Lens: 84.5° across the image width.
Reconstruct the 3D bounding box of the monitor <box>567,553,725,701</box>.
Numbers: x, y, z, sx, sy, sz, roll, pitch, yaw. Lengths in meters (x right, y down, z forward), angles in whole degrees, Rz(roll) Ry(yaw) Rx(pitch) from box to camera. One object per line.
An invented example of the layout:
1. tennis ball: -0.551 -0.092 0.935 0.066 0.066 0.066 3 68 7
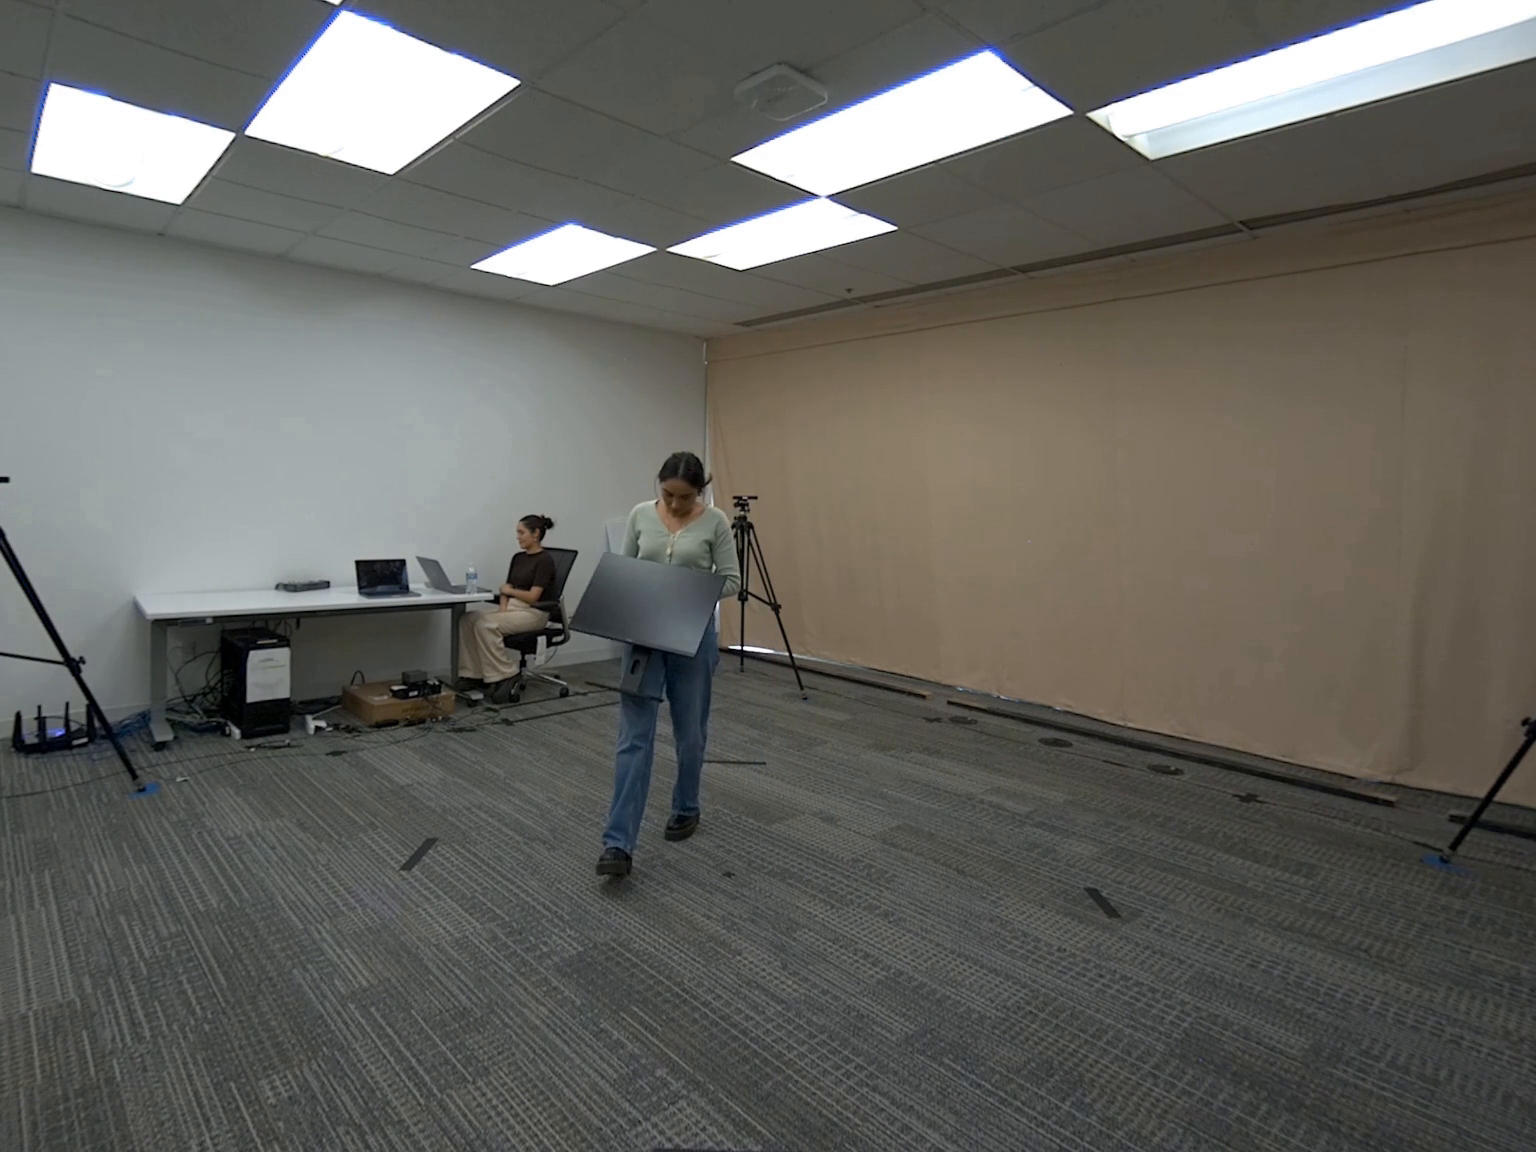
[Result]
1. monitor: -0.491 0.192 3.167 0.539 0.519 0.170 9 -11 20
